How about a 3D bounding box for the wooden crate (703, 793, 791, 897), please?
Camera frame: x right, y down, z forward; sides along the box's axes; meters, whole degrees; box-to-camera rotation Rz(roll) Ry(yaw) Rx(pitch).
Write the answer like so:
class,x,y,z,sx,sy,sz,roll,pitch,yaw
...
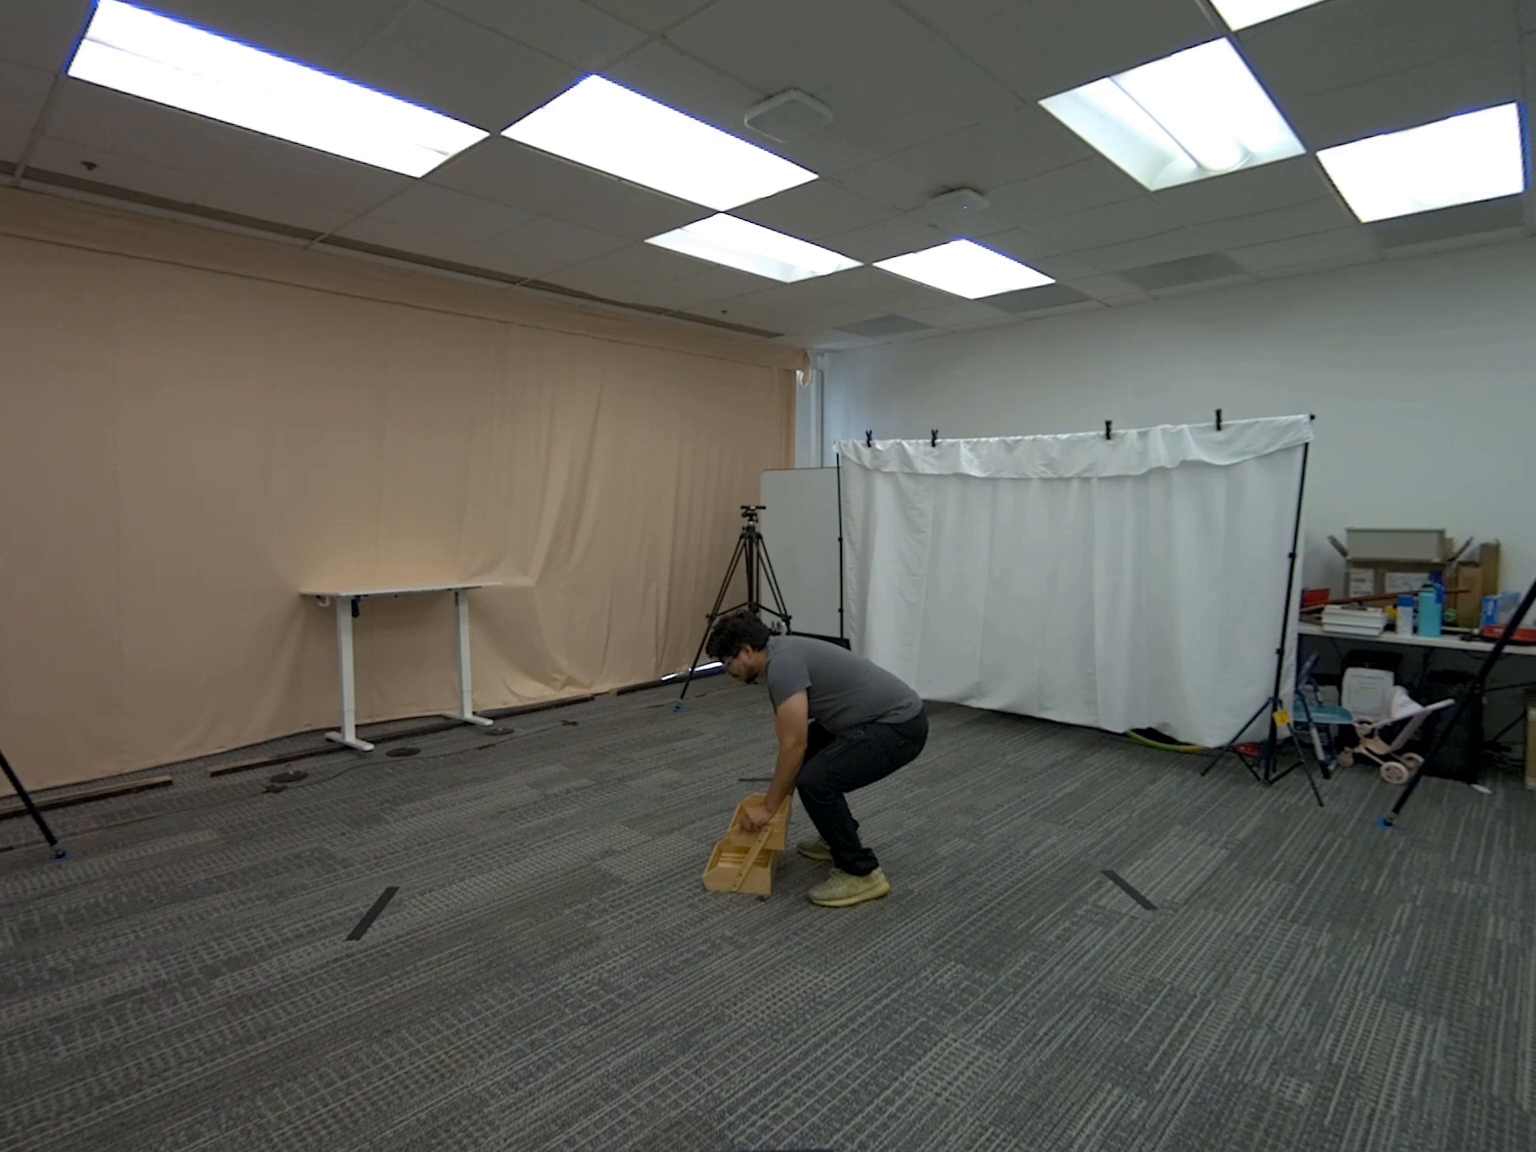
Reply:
class,x,y,z,sx,sy,sz,roll,pitch,yaw
wooden crate,-0.090,1.003,3.178,0.305,0.272,0.322,-1,4,8
